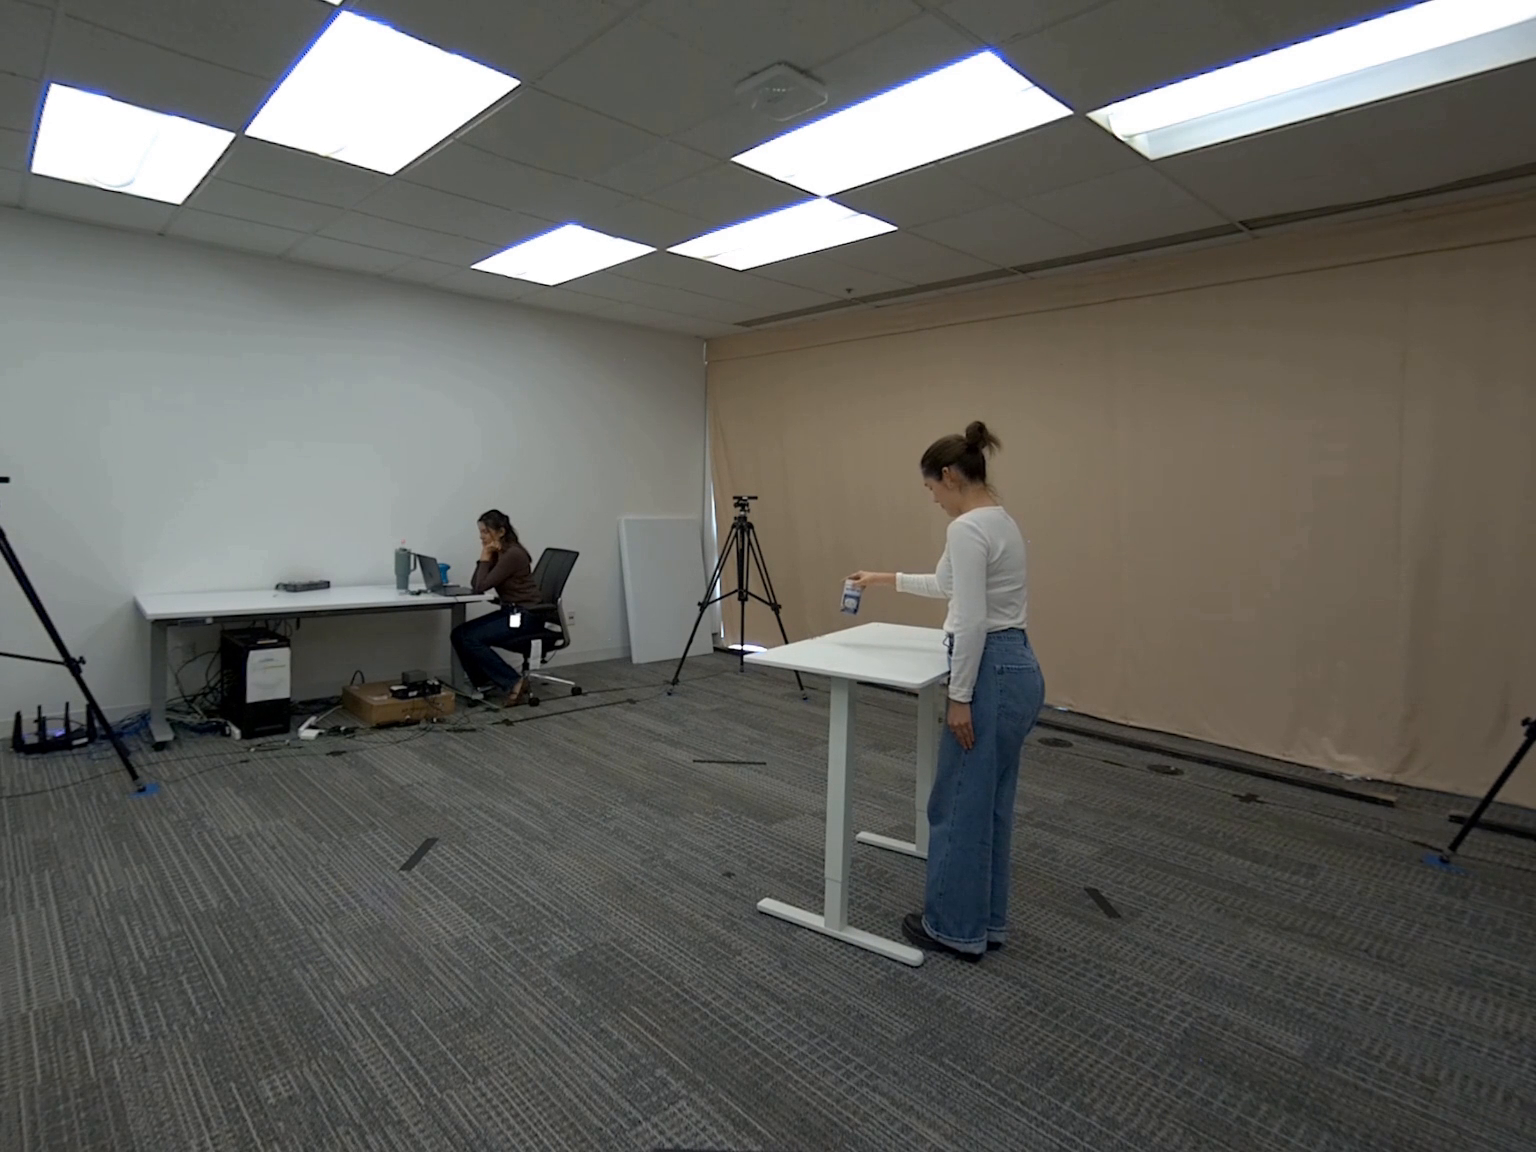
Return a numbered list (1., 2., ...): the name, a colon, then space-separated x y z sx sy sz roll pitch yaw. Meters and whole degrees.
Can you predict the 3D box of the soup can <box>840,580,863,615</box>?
1. soup can: 0.294 0.075 3.000 0.067 0.121 0.067 8 0 -1
